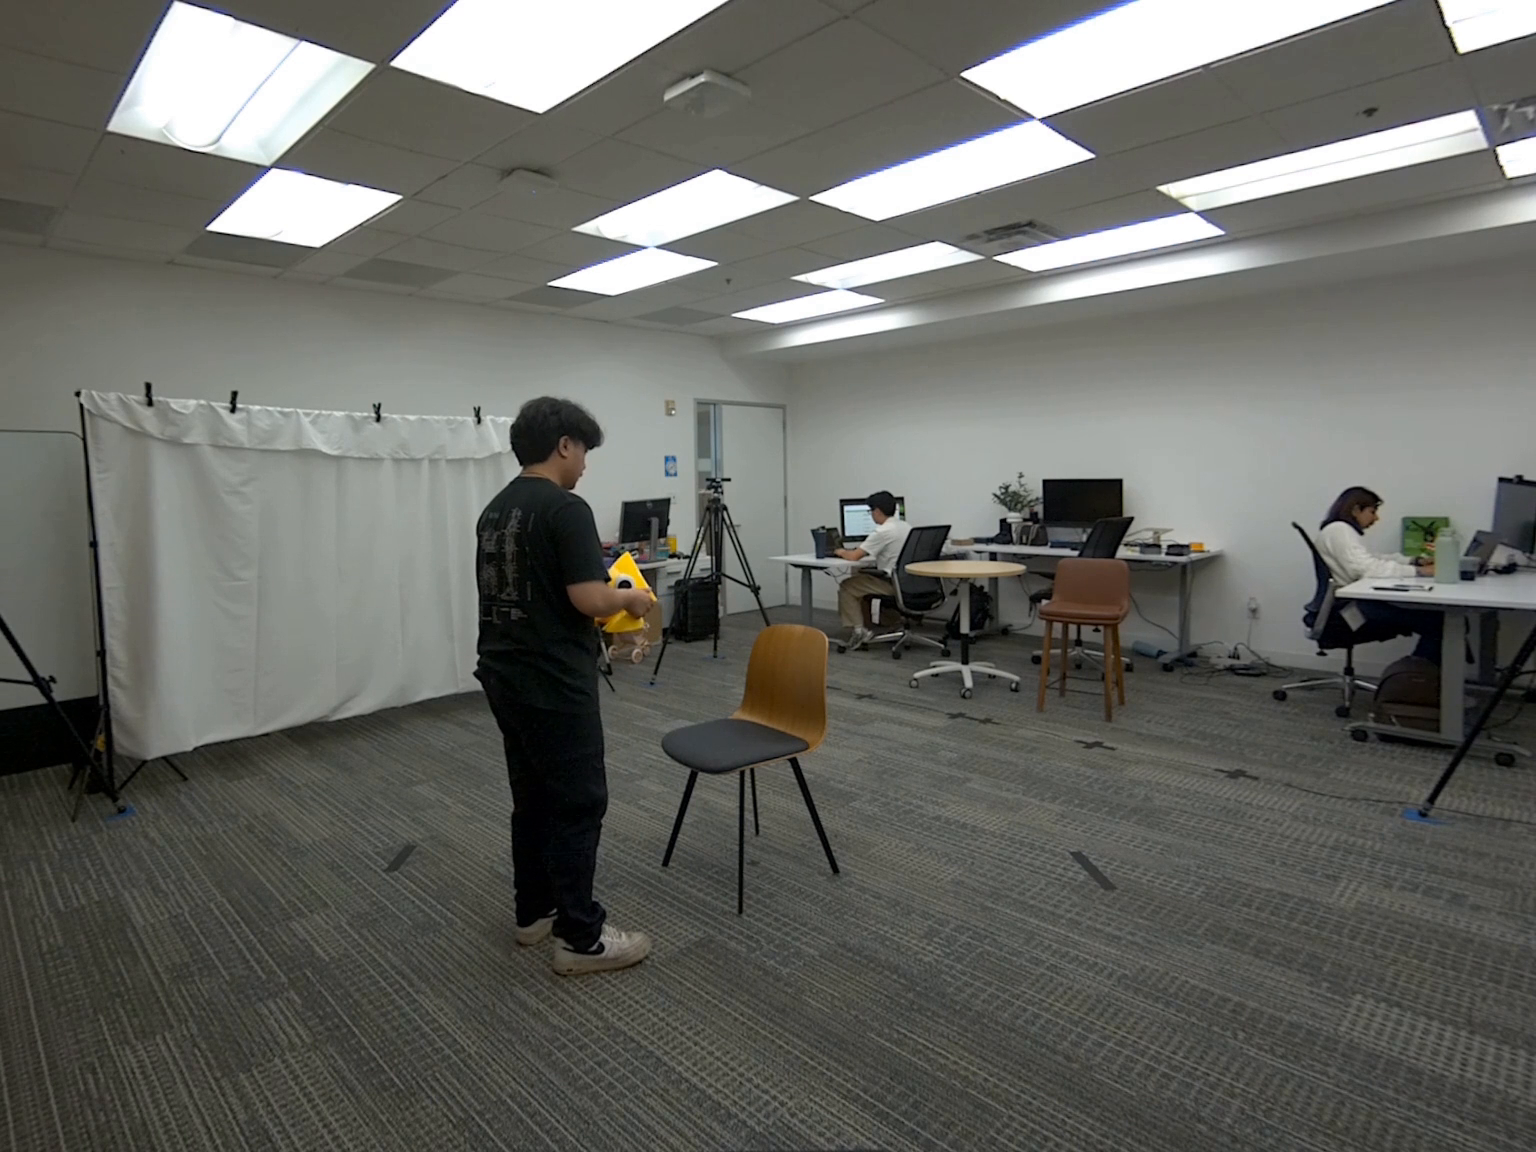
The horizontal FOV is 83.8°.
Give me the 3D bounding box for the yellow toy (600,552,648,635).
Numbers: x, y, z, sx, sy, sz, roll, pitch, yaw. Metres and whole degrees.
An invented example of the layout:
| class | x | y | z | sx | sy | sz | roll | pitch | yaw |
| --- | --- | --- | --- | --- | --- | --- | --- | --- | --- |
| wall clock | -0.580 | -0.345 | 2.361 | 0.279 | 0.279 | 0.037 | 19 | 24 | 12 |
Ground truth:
| class | x | y | z | sx | sy | sz | roll | pitch | yaw |
| --- | --- | --- | --- | --- | --- | --- | --- | --- | --- |
| yellow toy | -0.492 | 0.042 | 2.730 | 0.211 | 0.229 | 0.188 | 6 | 9 | 38 |
